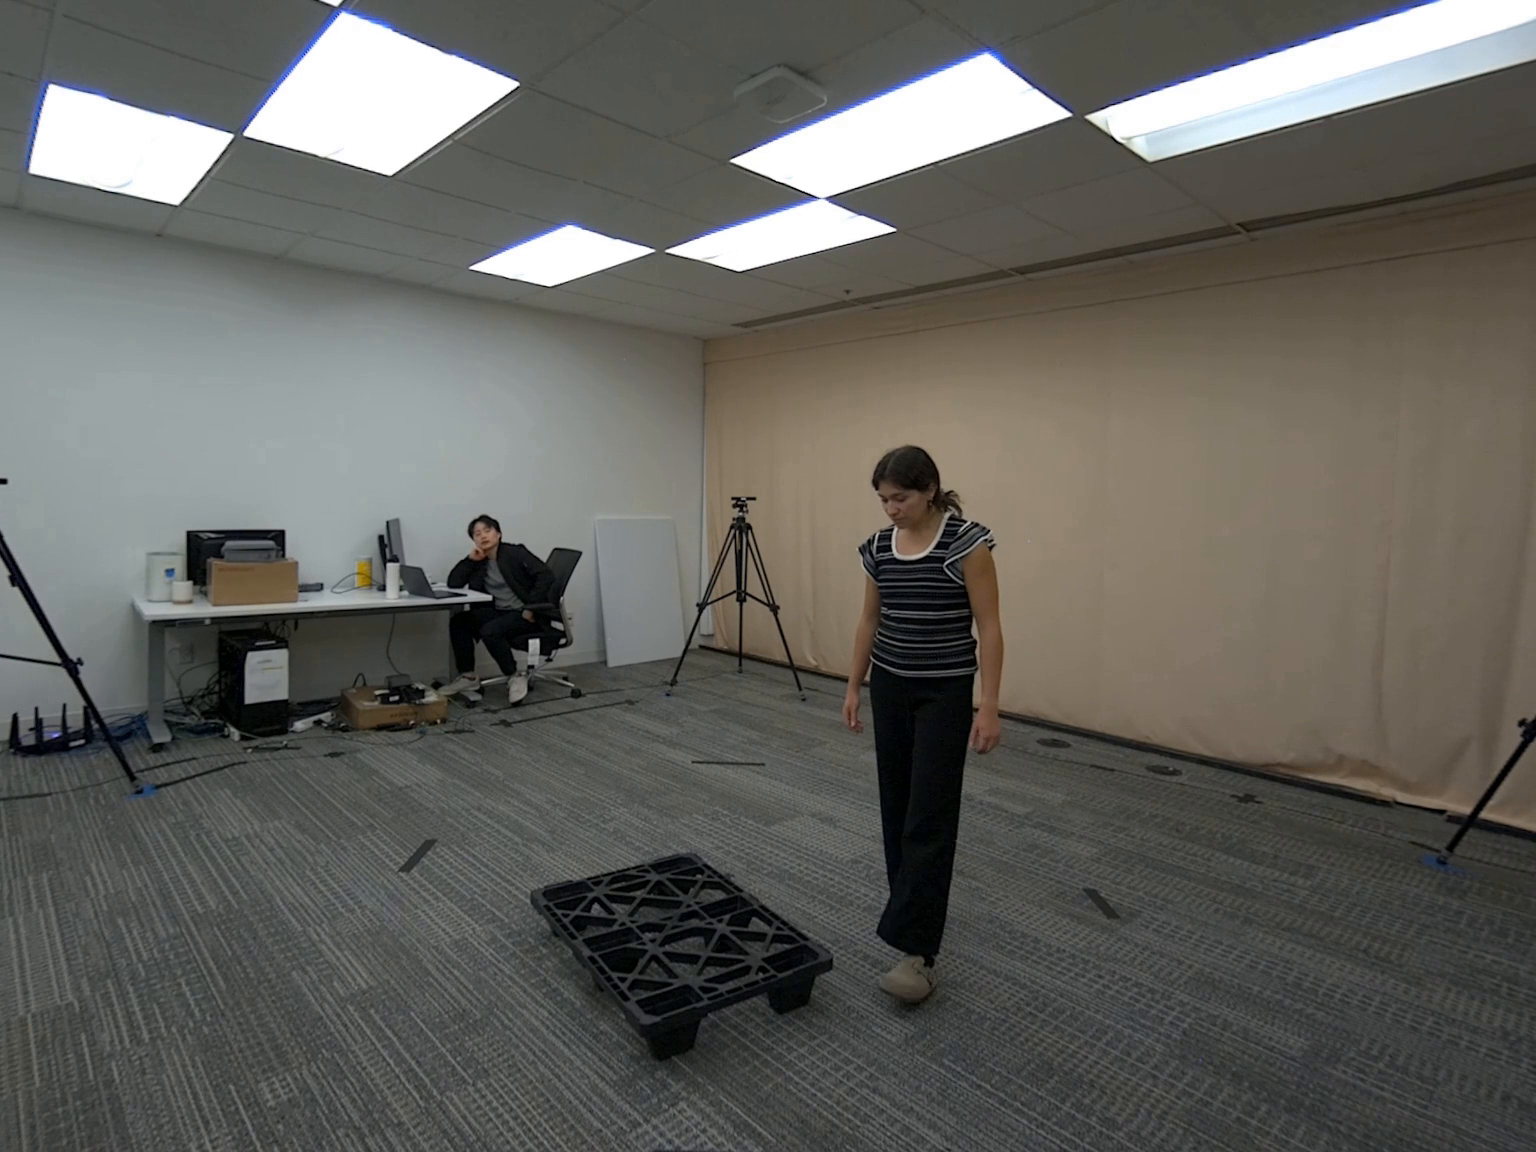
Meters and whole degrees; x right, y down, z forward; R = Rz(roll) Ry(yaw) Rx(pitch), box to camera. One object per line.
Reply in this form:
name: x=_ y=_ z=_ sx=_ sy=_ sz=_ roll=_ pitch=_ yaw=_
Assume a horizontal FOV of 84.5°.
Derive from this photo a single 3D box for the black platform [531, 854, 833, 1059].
black platform: x=-0.294 y=1.093 z=2.496 sx=0.592 sy=0.143 sz=0.825 roll=-3 pitch=7 yaw=-34
